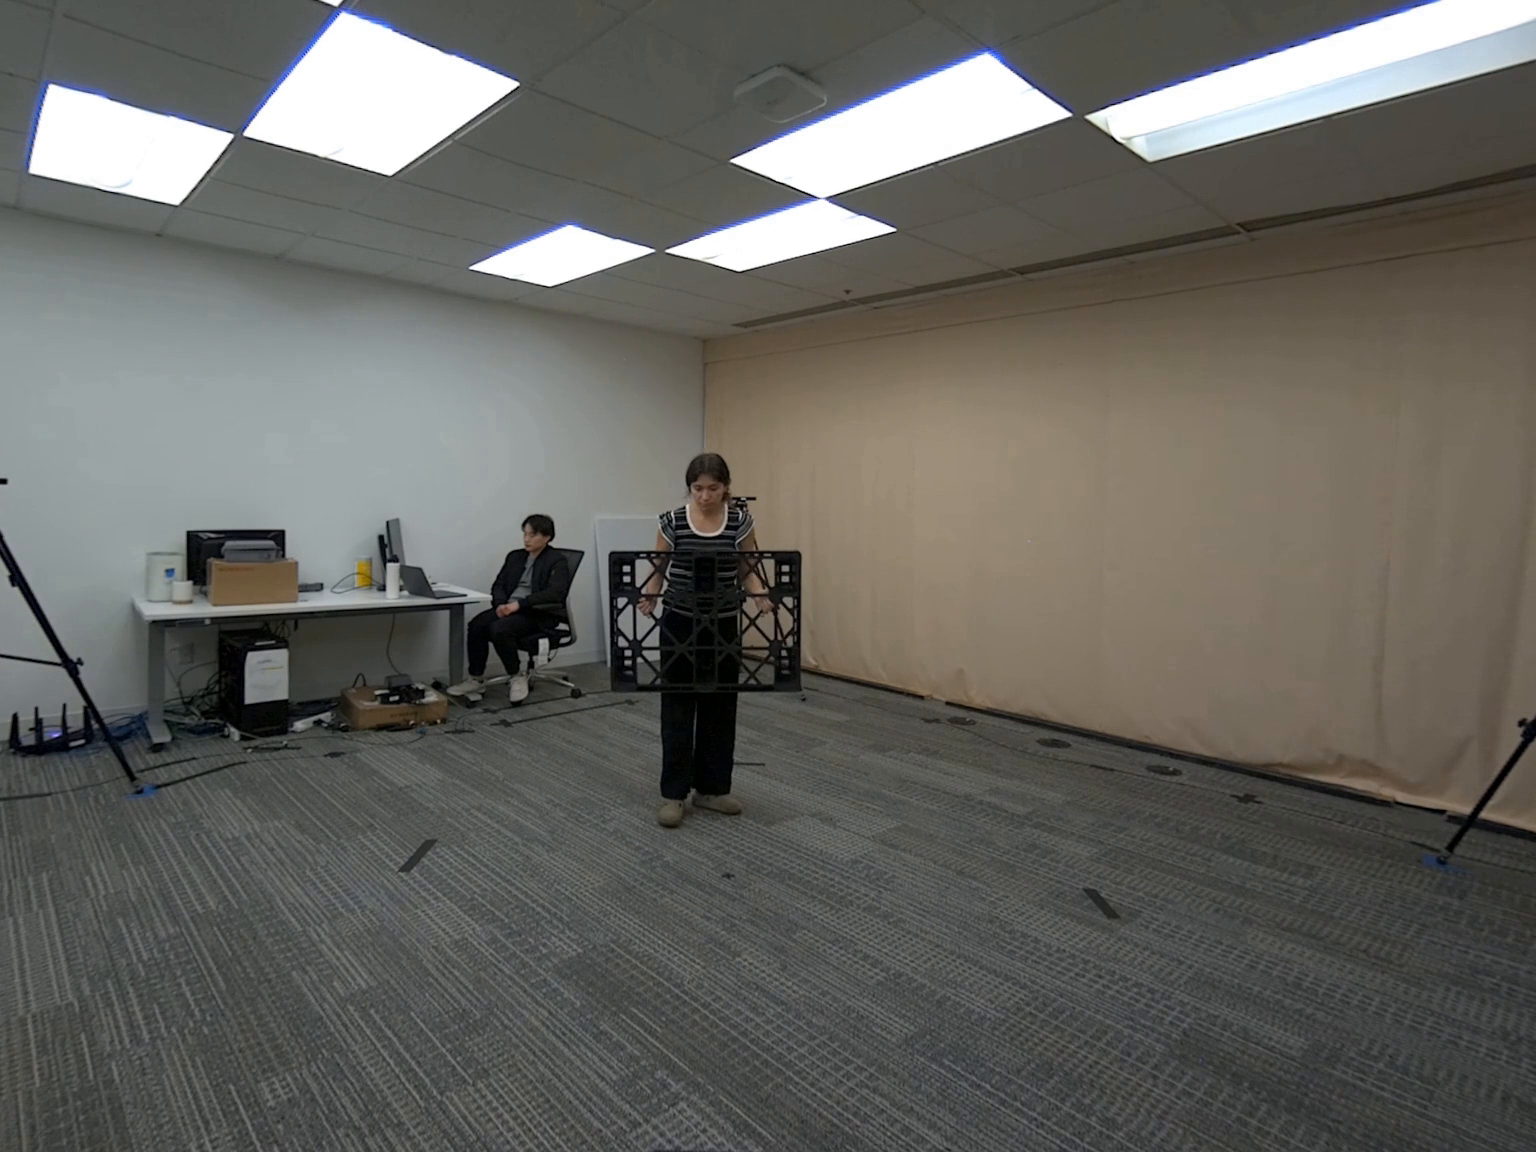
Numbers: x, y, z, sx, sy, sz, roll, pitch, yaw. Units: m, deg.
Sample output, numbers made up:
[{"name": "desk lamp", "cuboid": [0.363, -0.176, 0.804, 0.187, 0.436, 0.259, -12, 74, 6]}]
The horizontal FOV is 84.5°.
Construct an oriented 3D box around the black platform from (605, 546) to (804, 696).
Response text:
[{"name": "black platform", "cuboid": [-0.266, 0.183, 3.550, 0.805, 0.602, 0.144, 0, 7, 0]}]
